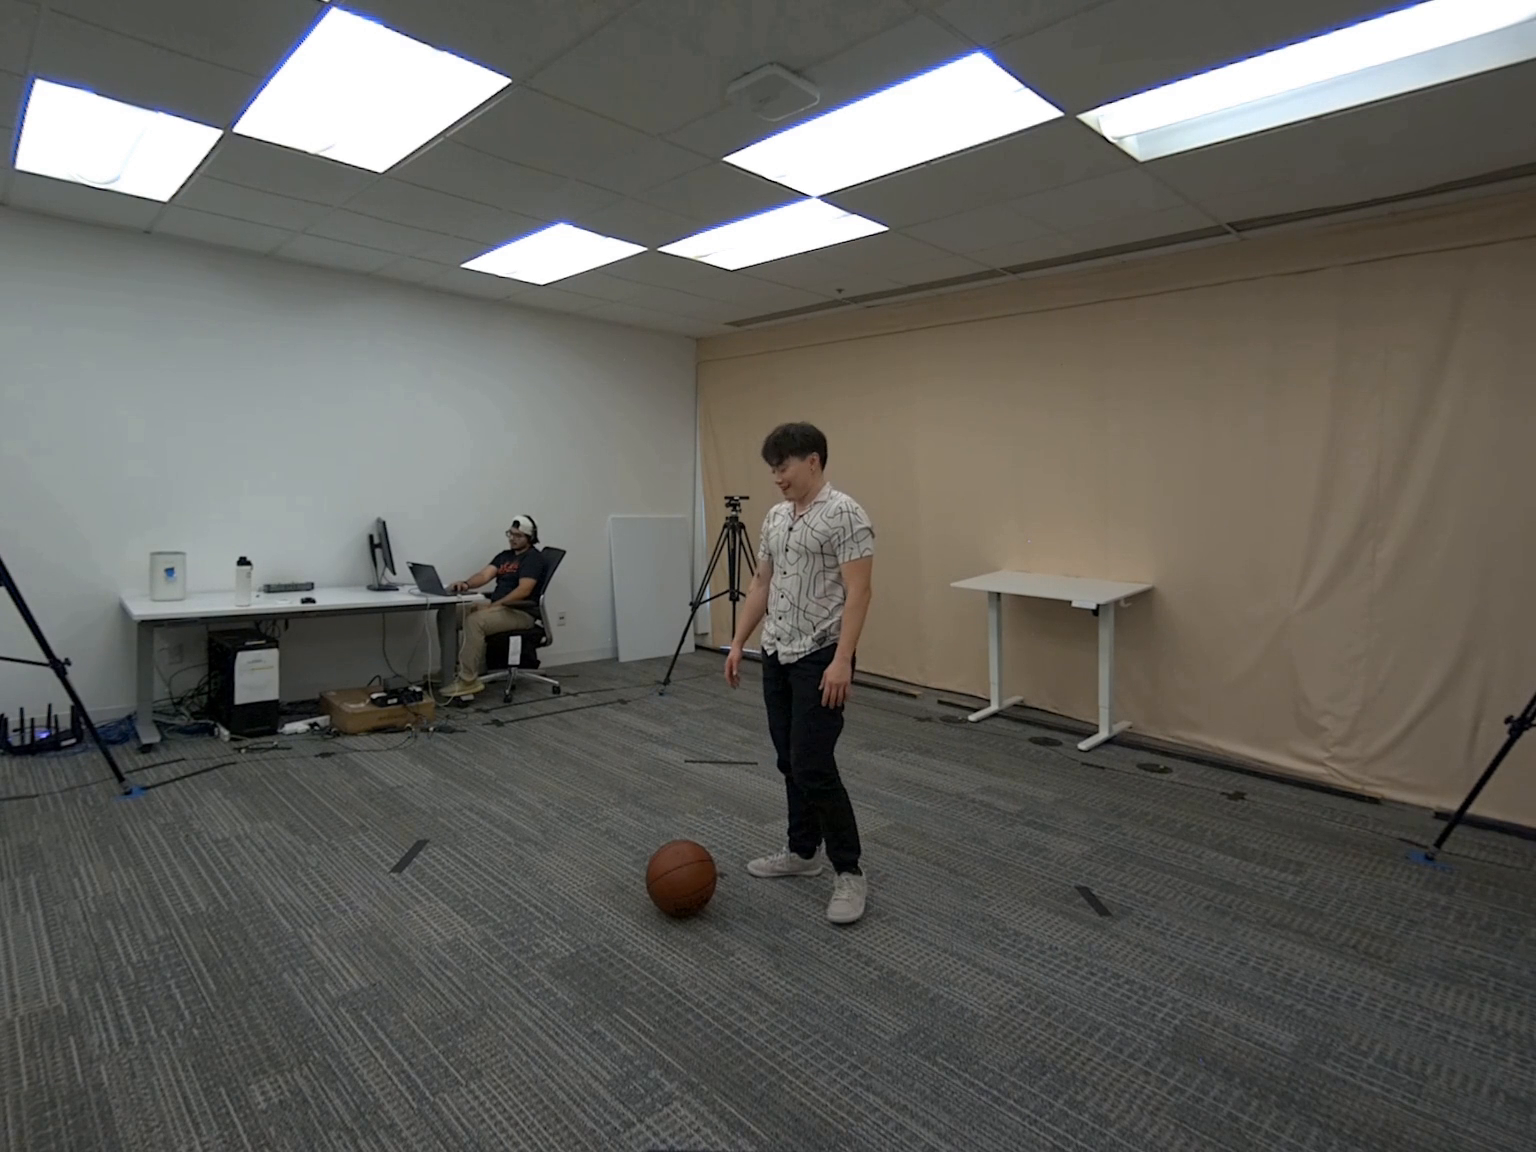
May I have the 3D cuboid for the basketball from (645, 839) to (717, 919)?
[{"bbox_3d":[-0.299,1.008,2.805,0.236,0.235,0.237,1,4,-1],"label":"basketball"}]
